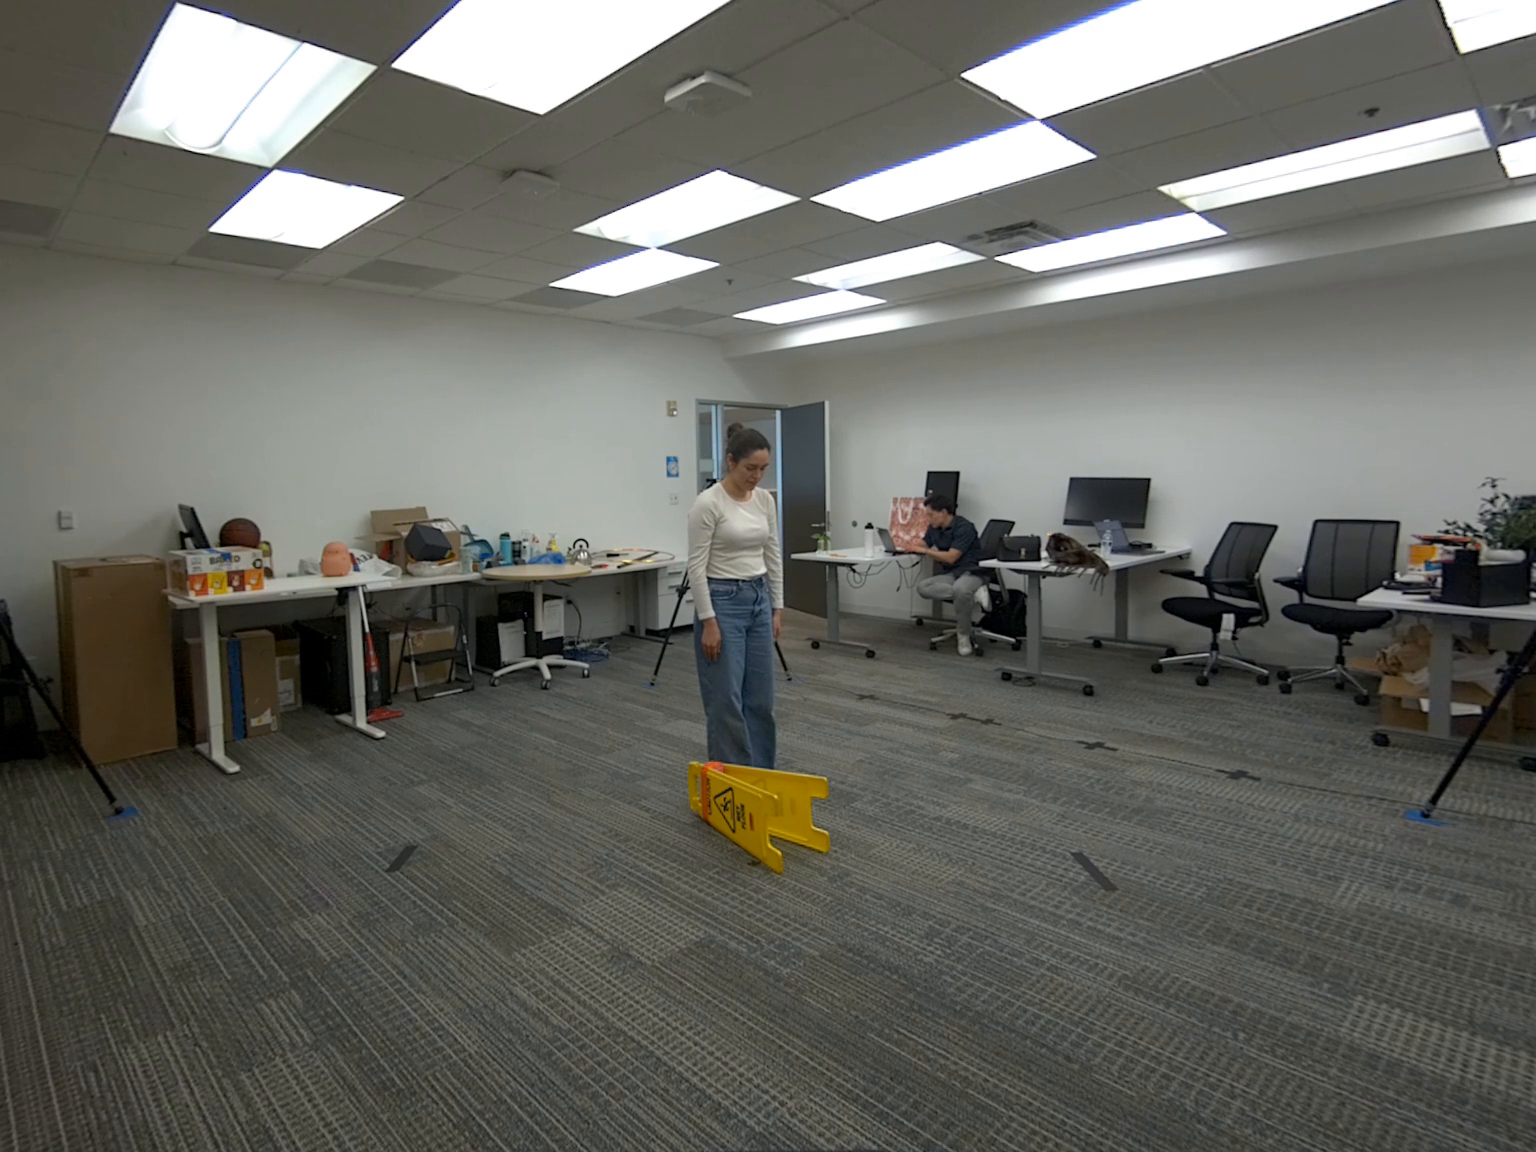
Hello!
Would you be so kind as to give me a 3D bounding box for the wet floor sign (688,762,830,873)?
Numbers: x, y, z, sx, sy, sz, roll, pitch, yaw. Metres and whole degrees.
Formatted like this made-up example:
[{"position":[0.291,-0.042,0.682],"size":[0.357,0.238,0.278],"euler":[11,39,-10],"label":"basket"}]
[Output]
[{"position":[-0.096,0.891,3.334],"size":[0.282,0.281,0.665],"euler":[-4,5,-44],"label":"wet floor sign"}]
